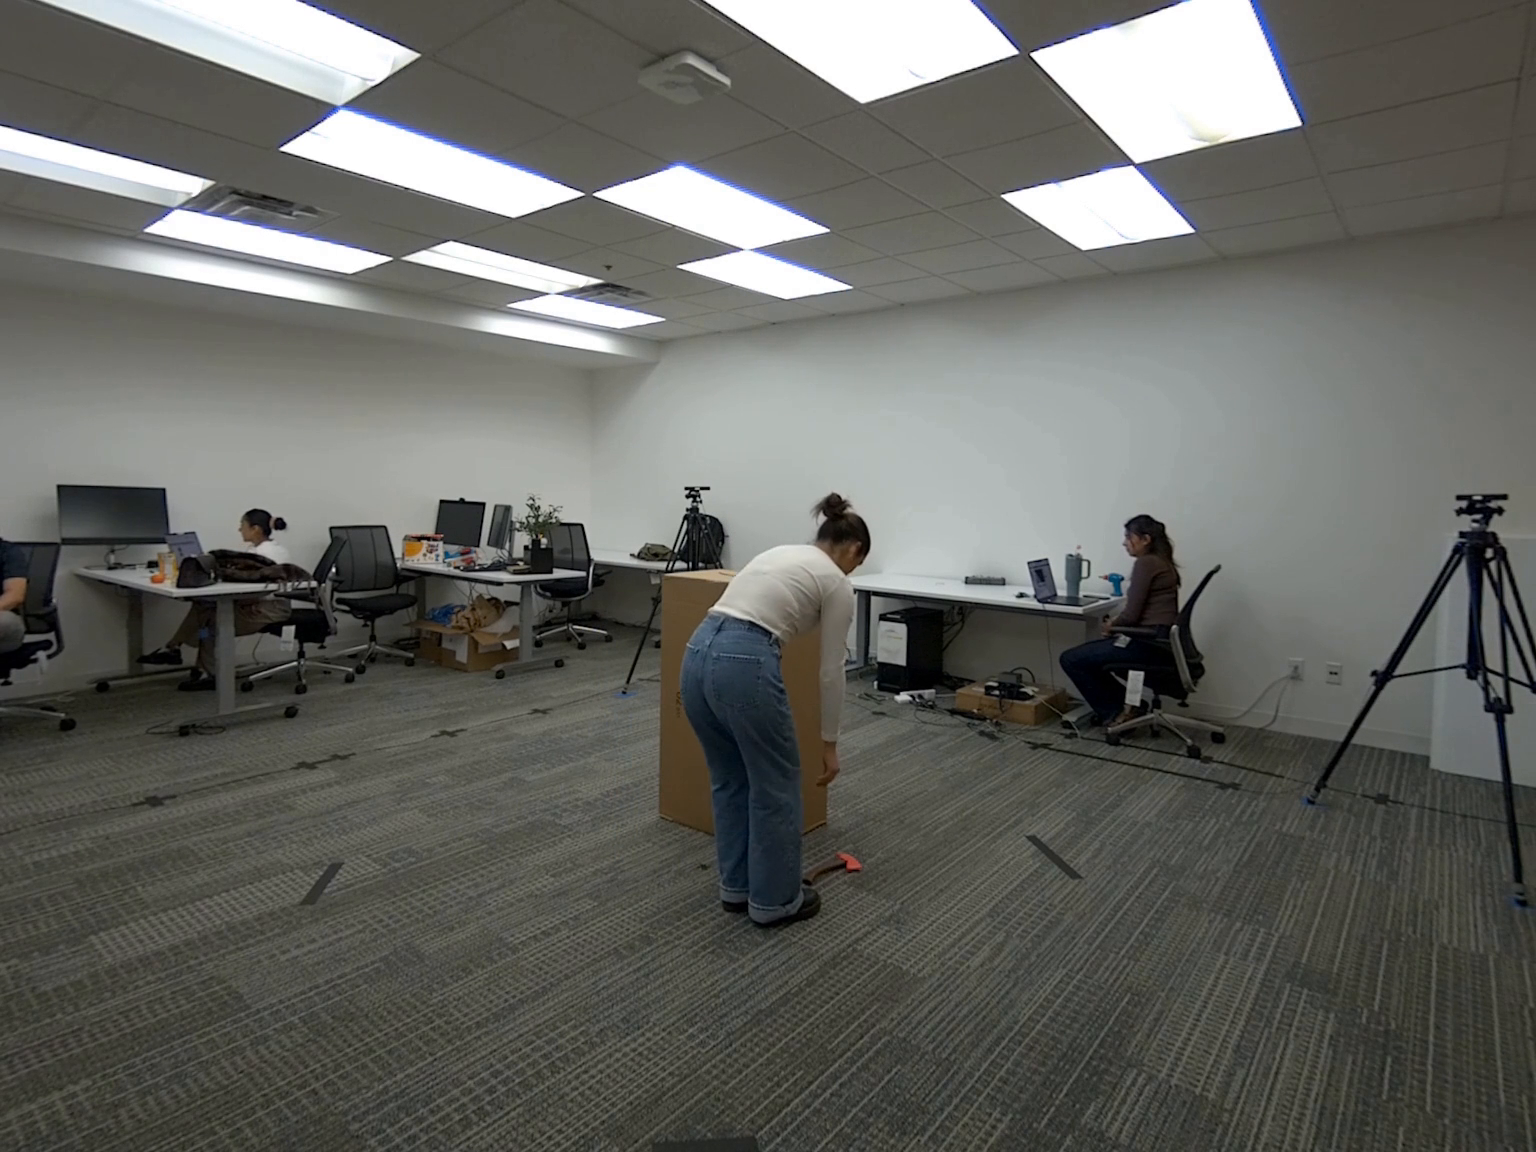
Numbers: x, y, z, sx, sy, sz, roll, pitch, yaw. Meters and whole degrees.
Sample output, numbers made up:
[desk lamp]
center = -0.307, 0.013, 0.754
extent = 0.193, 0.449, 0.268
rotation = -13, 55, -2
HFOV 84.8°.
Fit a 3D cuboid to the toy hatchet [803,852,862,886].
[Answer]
[toy hatchet]
center = 0.240, 1.066, 3.076
extent = 0.135, 0.029, 0.263
rotation = 6, 10, 33
